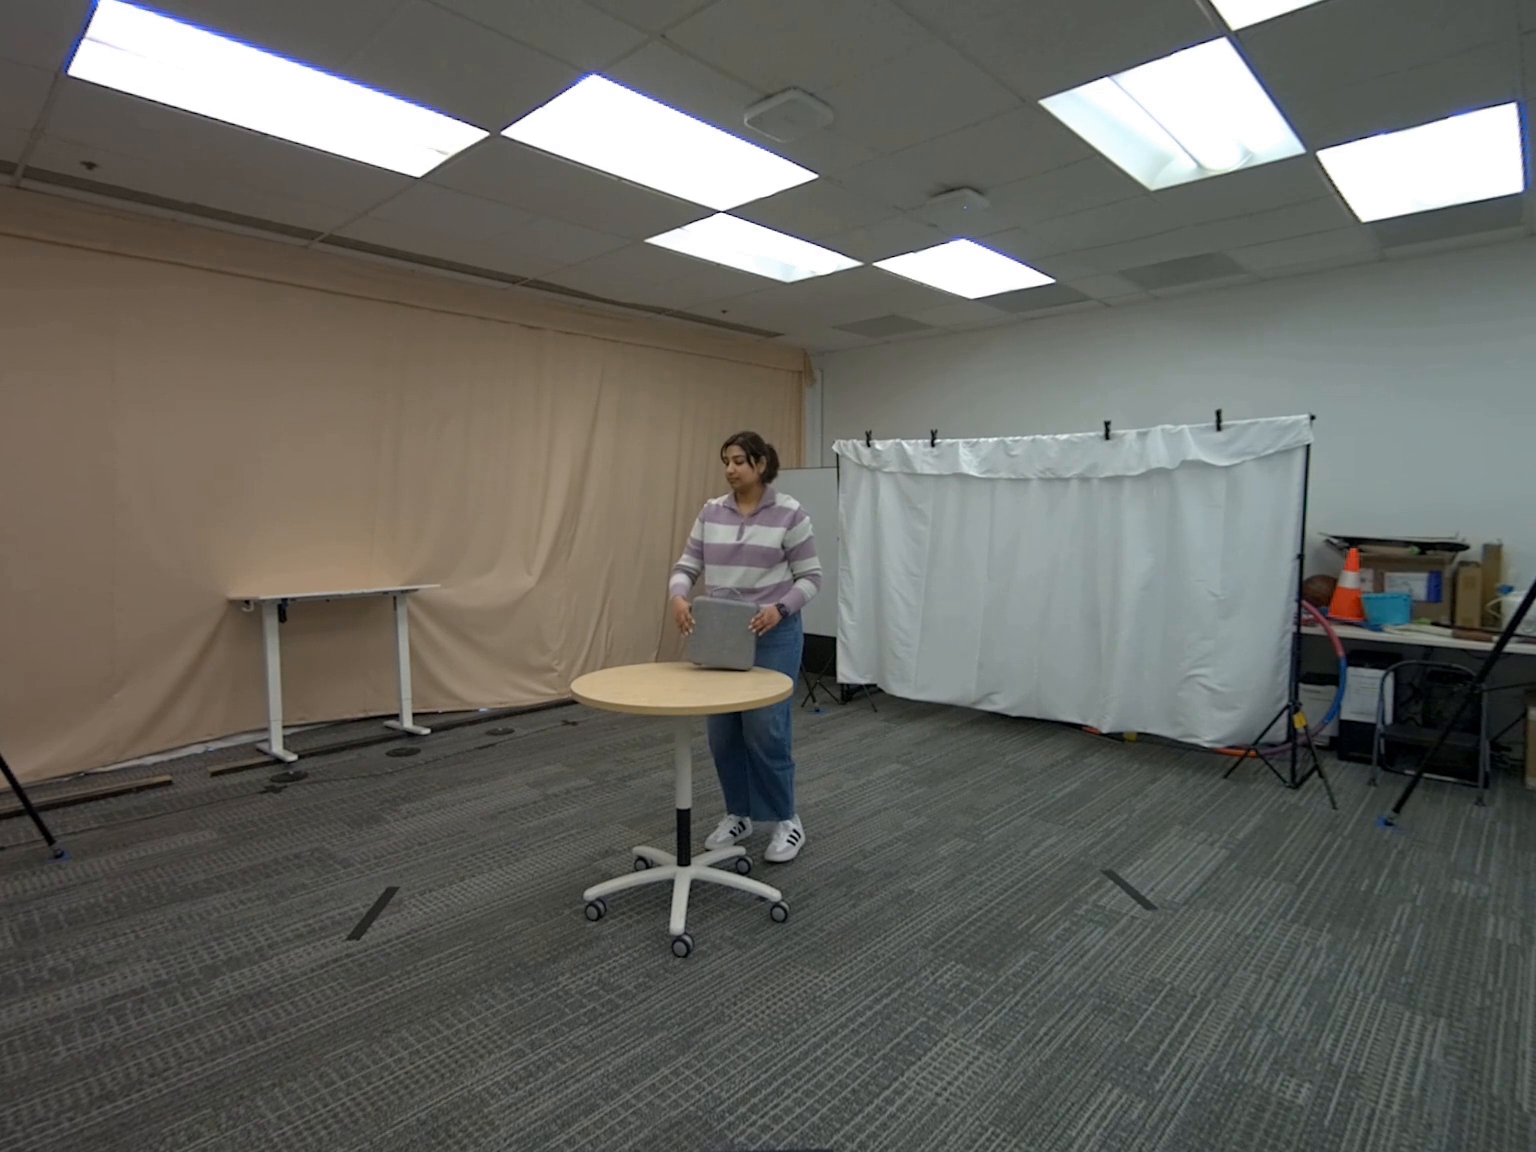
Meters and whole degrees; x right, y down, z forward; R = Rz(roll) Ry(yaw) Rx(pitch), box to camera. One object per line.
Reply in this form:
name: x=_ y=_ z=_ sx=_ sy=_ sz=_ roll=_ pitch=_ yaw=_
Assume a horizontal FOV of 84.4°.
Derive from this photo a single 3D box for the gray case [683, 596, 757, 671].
gray case: x=-0.158 y=0.206 z=3.133 sx=0.259 sy=0.260 sz=0.103 roll=9 pitch=3 yaw=7
